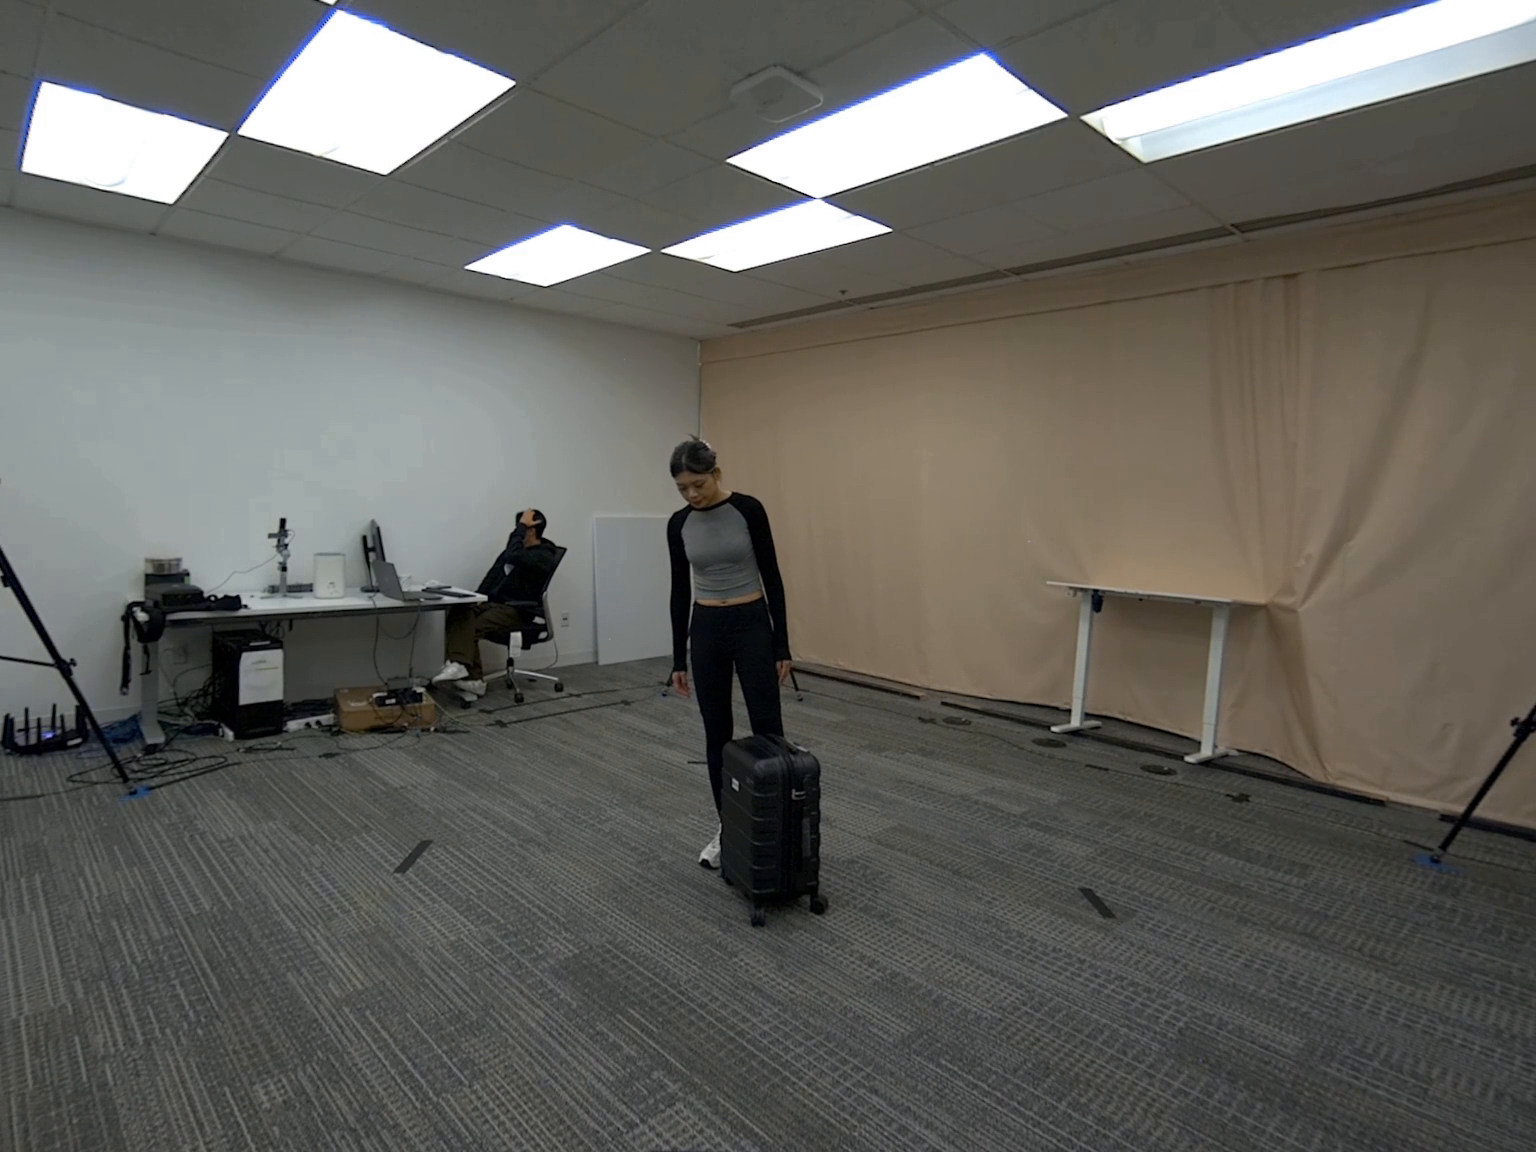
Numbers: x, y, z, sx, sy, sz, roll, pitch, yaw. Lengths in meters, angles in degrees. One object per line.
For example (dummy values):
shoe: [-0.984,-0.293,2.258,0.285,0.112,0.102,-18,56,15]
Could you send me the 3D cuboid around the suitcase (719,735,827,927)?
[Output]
suitcase: [-0.001,0.847,2.930,0.244,0.548,0.382,0,4,-23]
